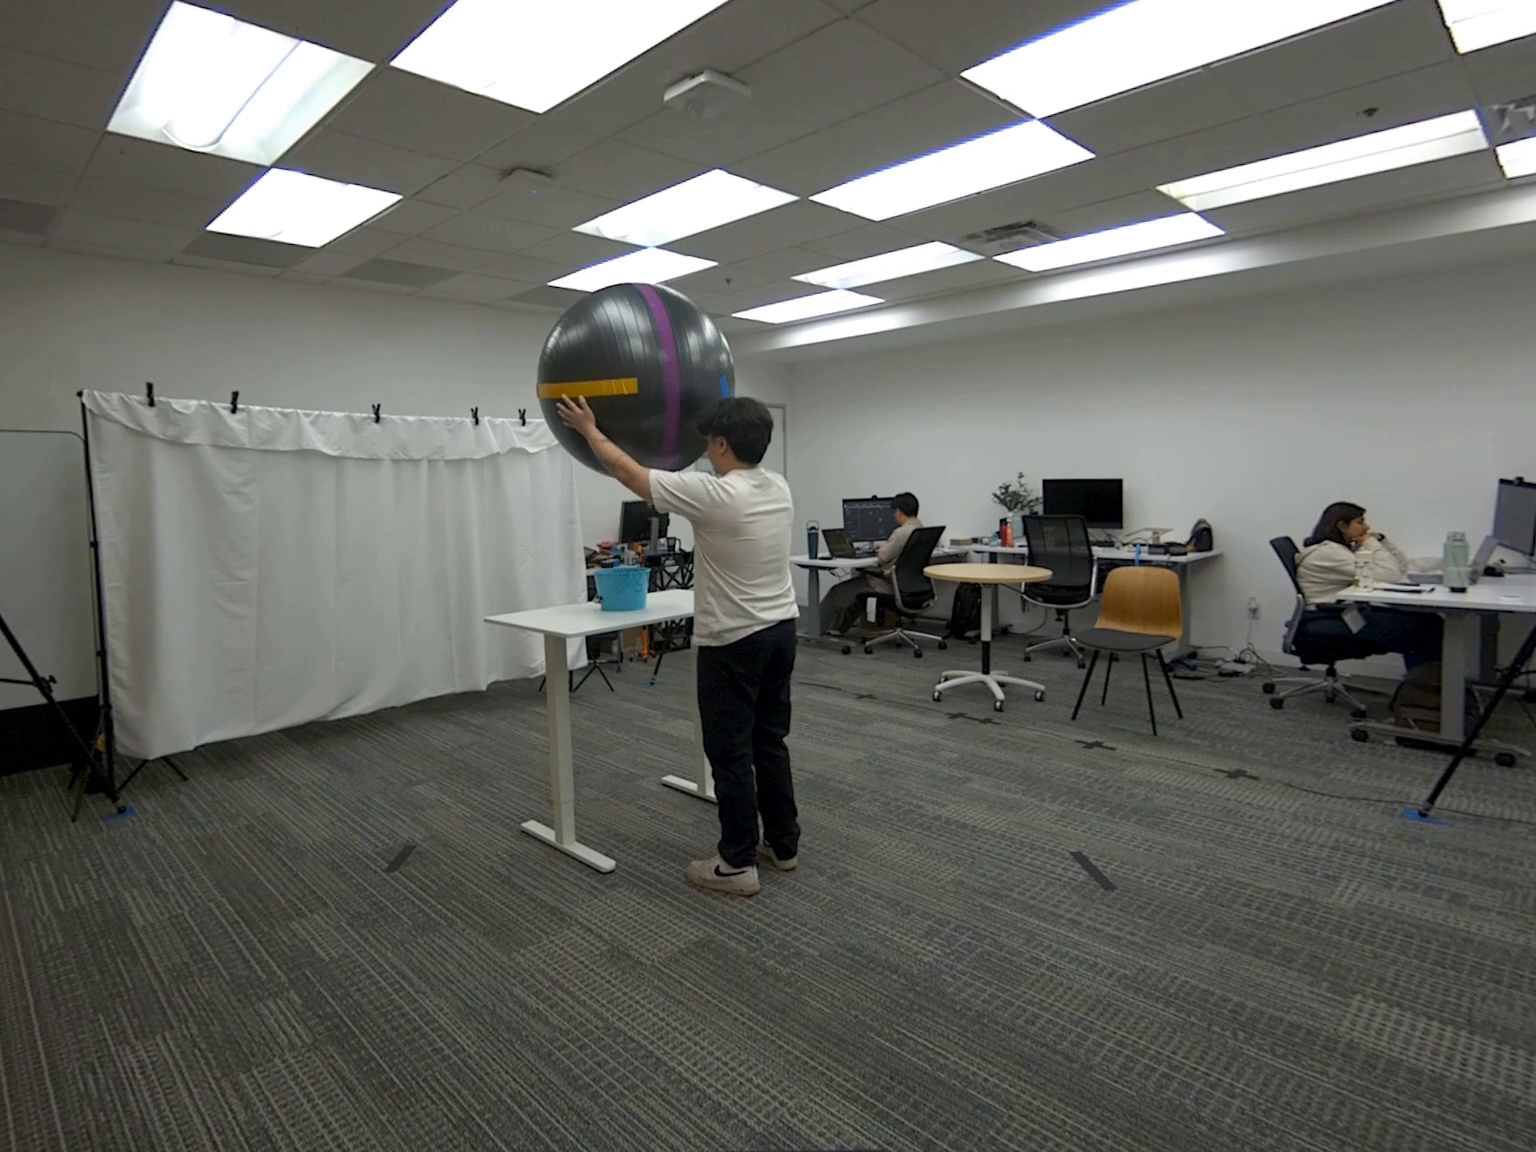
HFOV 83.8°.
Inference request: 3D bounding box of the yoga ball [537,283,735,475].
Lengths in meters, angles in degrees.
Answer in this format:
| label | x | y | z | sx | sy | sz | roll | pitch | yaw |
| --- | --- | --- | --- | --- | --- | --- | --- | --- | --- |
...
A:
| label | x | y | z | sx | sy | sz | roll | pitch | yaw |
| --- | --- | --- | --- | --- | --- | --- | --- | --- | --- |
| yoga ball | -0.506 | -0.739 | 3.314 | 0.757 | 0.755 | 0.762 | -1 | 5 | -2 |
